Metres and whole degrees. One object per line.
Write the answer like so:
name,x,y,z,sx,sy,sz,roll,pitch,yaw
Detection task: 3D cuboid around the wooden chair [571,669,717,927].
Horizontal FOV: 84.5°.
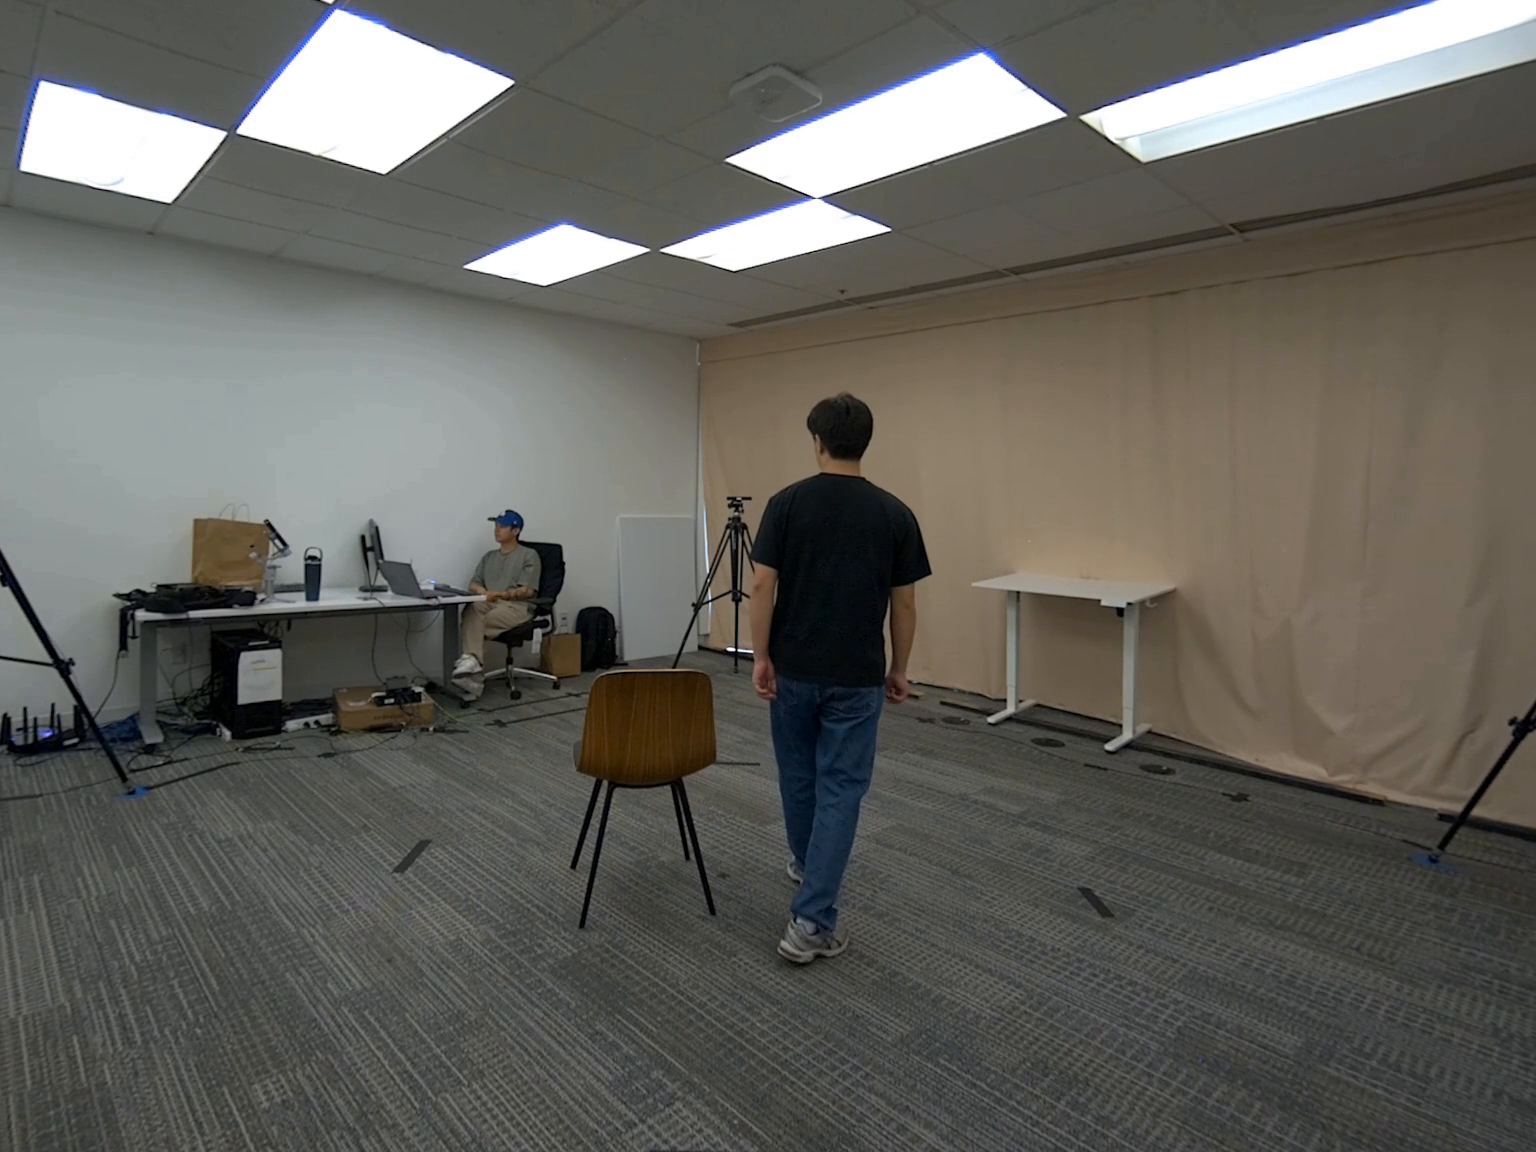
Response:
wooden chair,-0.445,0.688,2.943,0.472,0.873,0.532,0,7,-16
